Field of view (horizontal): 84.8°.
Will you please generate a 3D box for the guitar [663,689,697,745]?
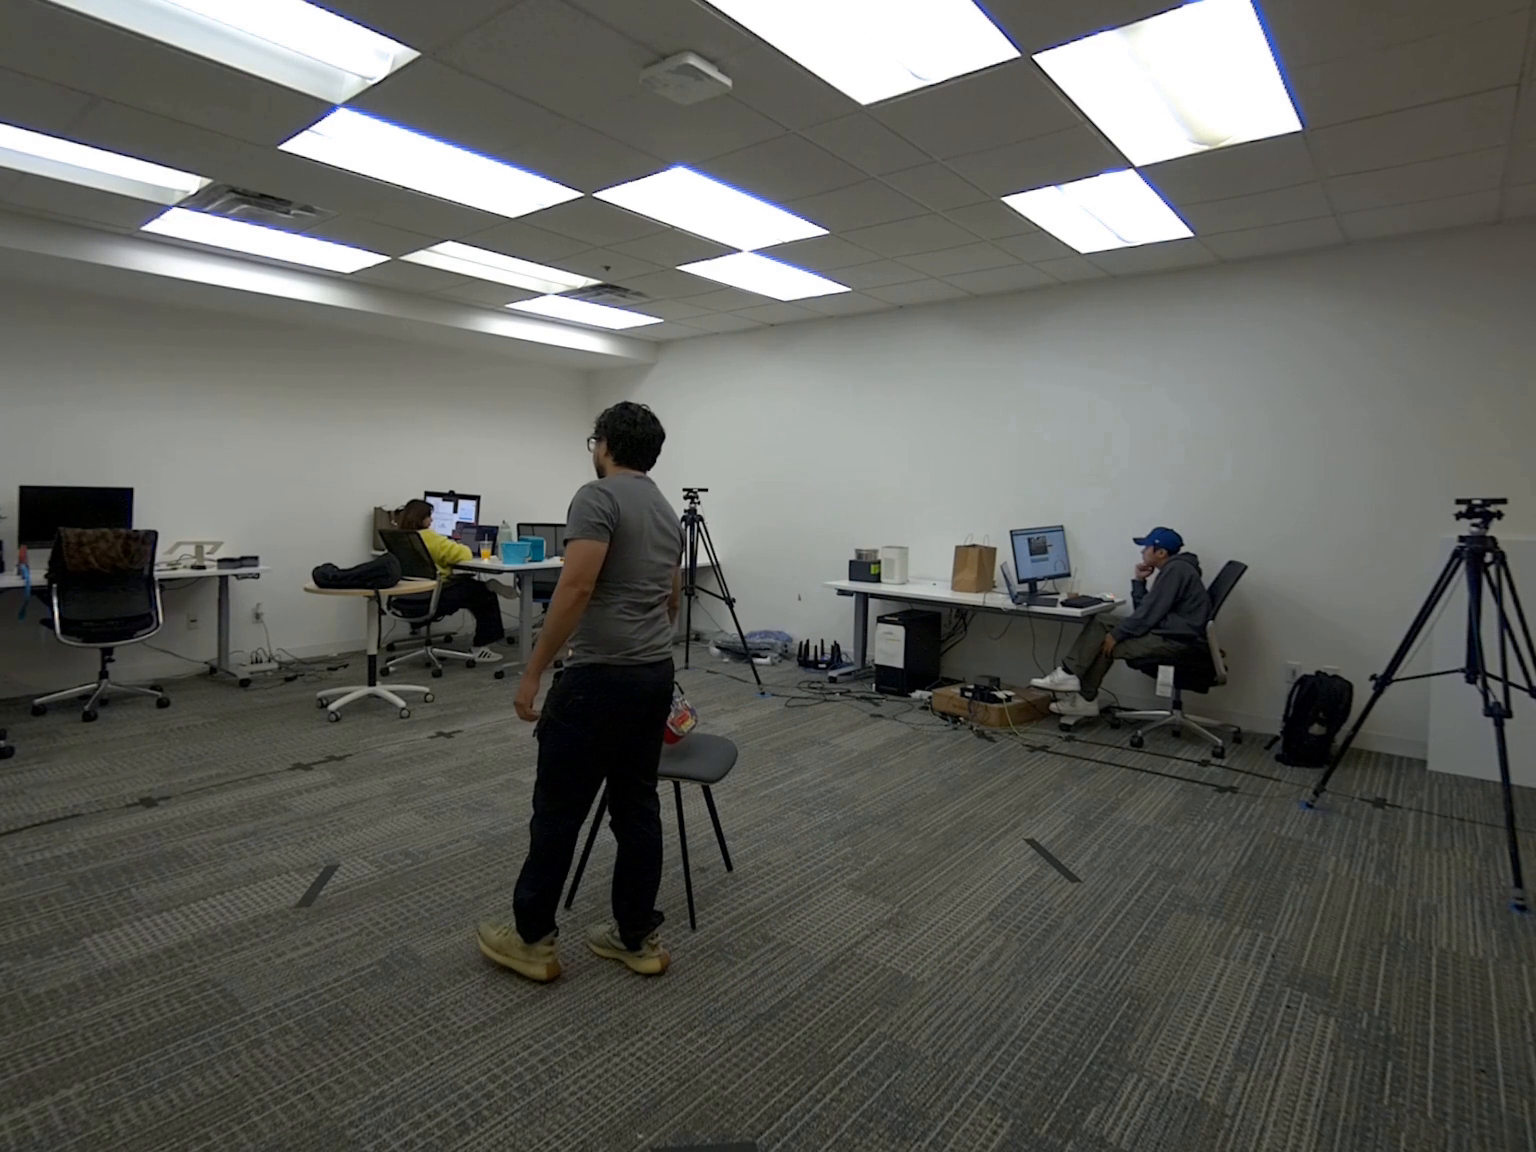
[{"bbox_3d":[-0.428,0.347,2.997,0.071,0.507,0.189,-38,-13,23],"label":"guitar"}]
